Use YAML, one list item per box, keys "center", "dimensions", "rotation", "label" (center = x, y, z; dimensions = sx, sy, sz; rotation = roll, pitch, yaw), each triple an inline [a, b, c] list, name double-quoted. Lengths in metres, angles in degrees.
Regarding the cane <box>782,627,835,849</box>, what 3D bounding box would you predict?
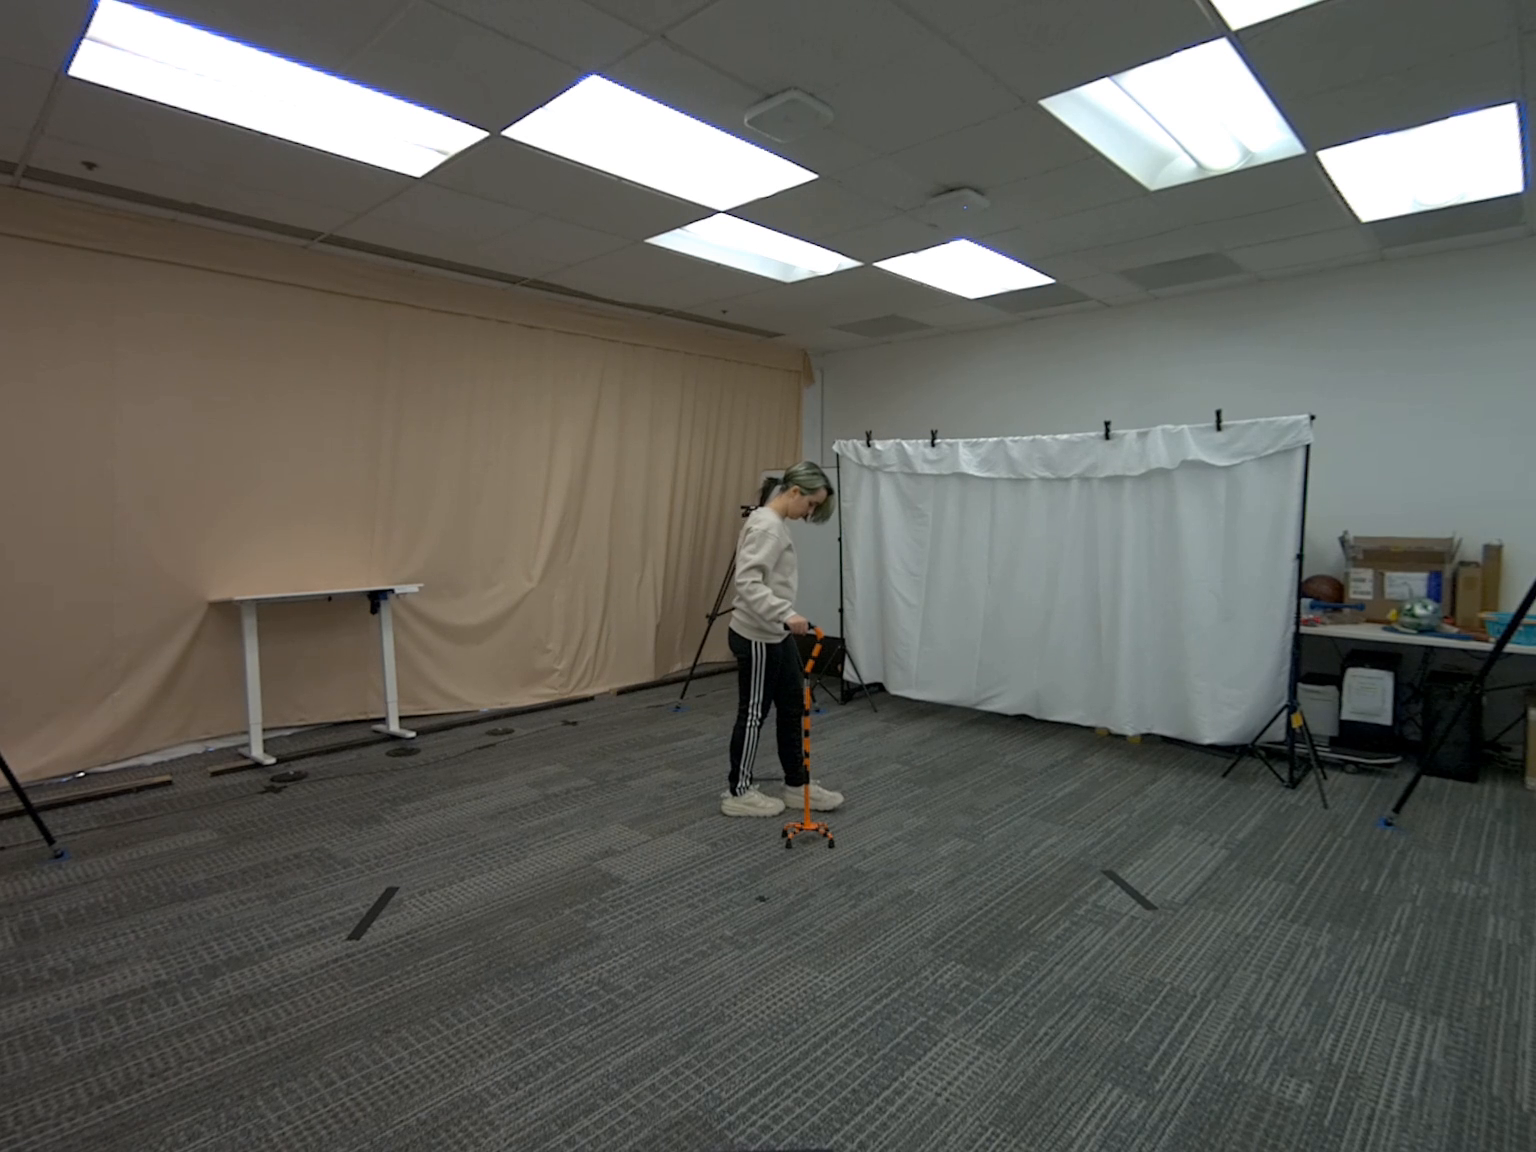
- center: [0.163, 0.649, 3.465]
  dimensions: [0.205, 0.906, 0.153]
  rotation: [0, 3, -5]
  label: "cane"
